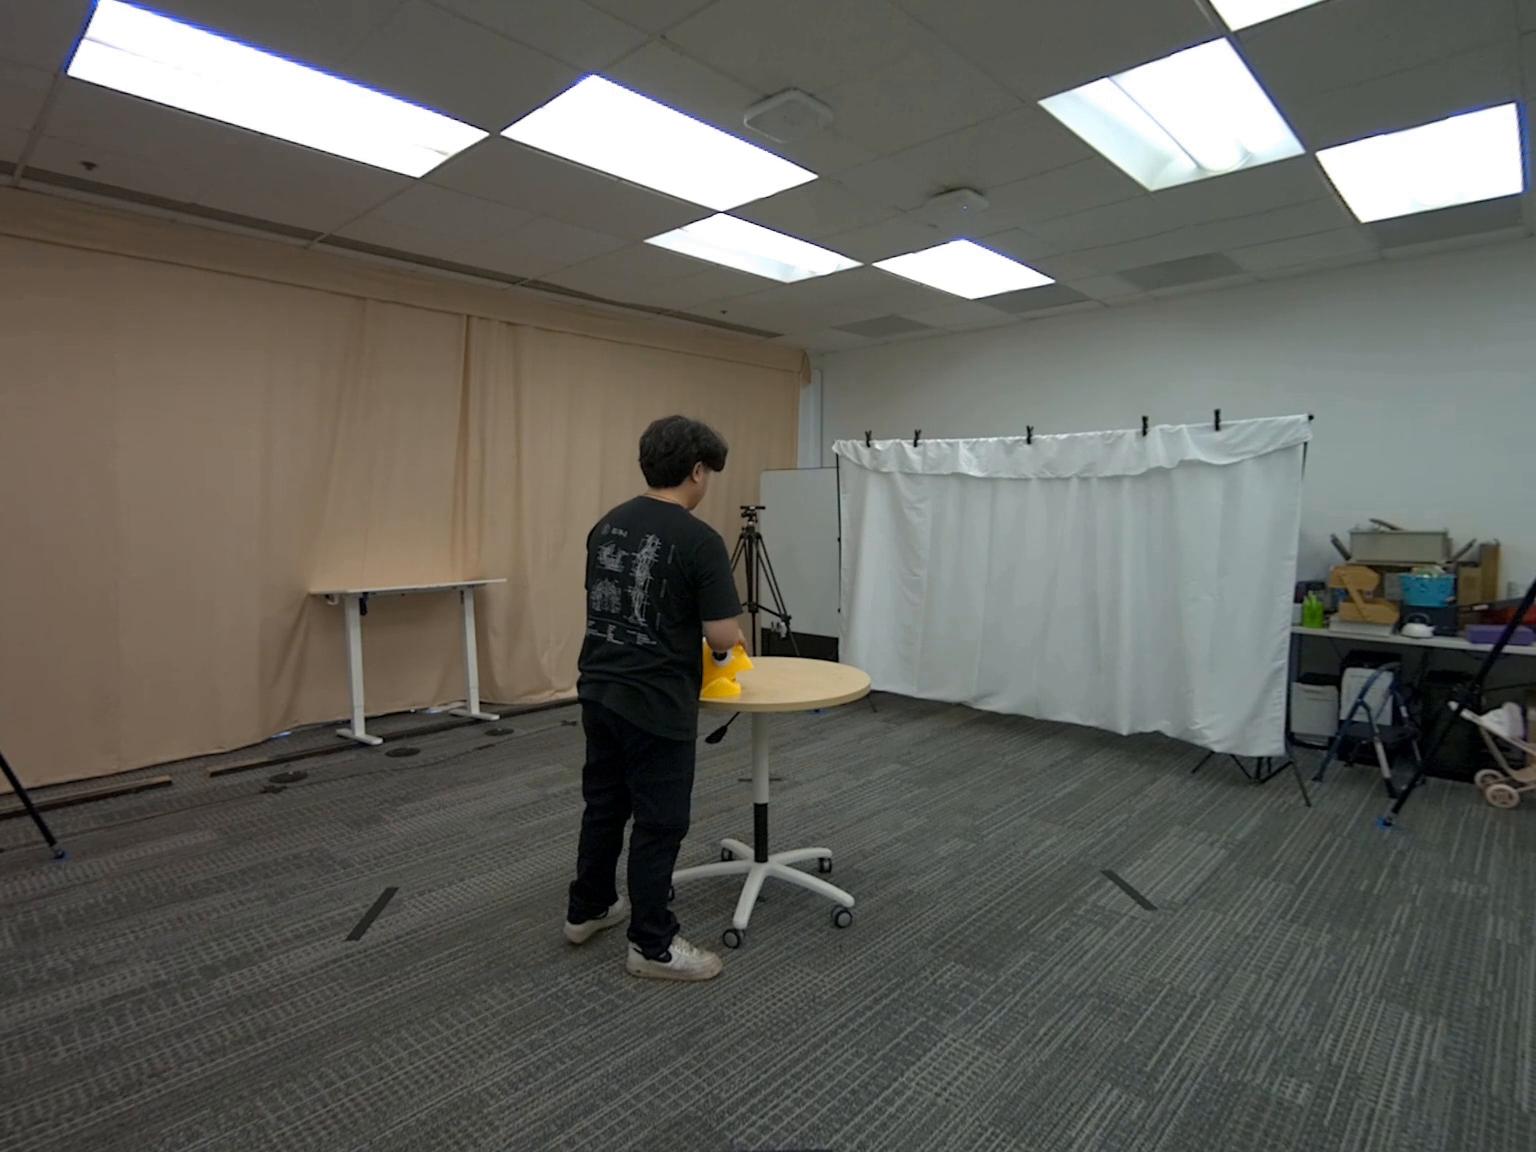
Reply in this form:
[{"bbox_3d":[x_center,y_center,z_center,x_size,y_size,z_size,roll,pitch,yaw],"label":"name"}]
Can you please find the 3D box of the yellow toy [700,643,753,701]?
[{"bbox_3d":[-0.174,0.260,2.741,0.188,0.230,0.211,-4,6,-30],"label":"yellow toy"}]
